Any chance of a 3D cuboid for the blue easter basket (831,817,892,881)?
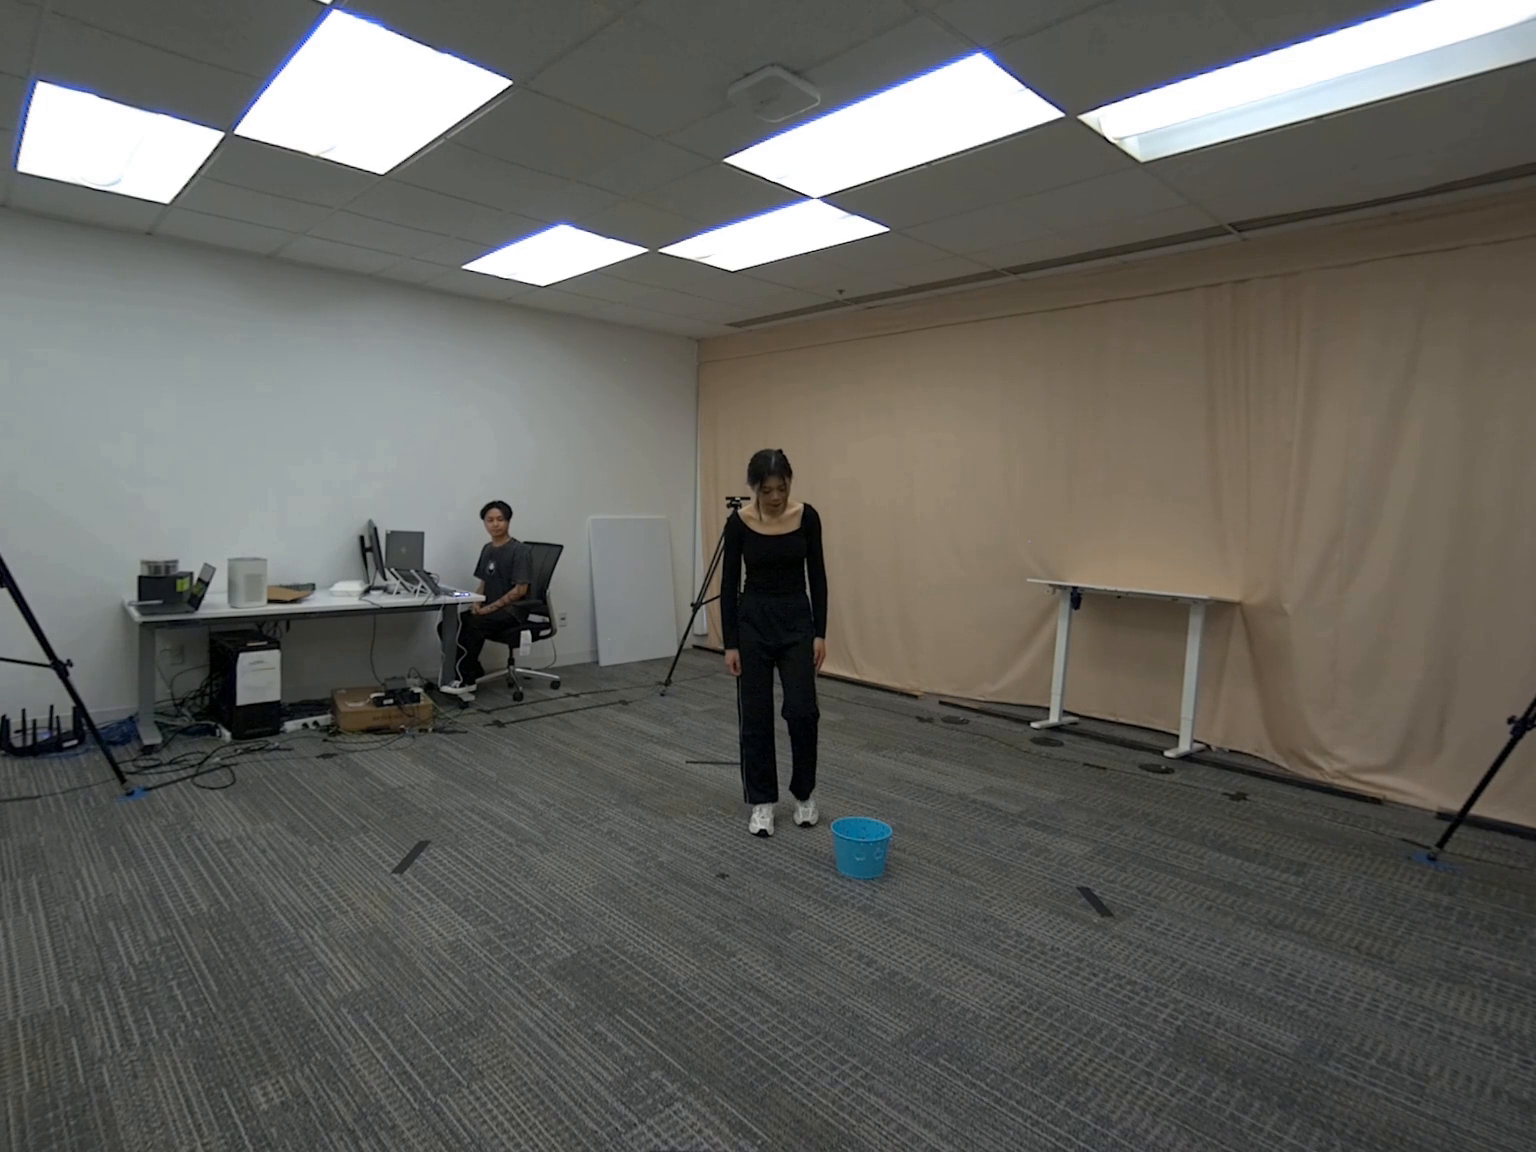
[{"bbox_3d":[0.350,1.033,3.193,0.243,0.155,0.244,1,4,-1],"label":"blue easter basket"}]
